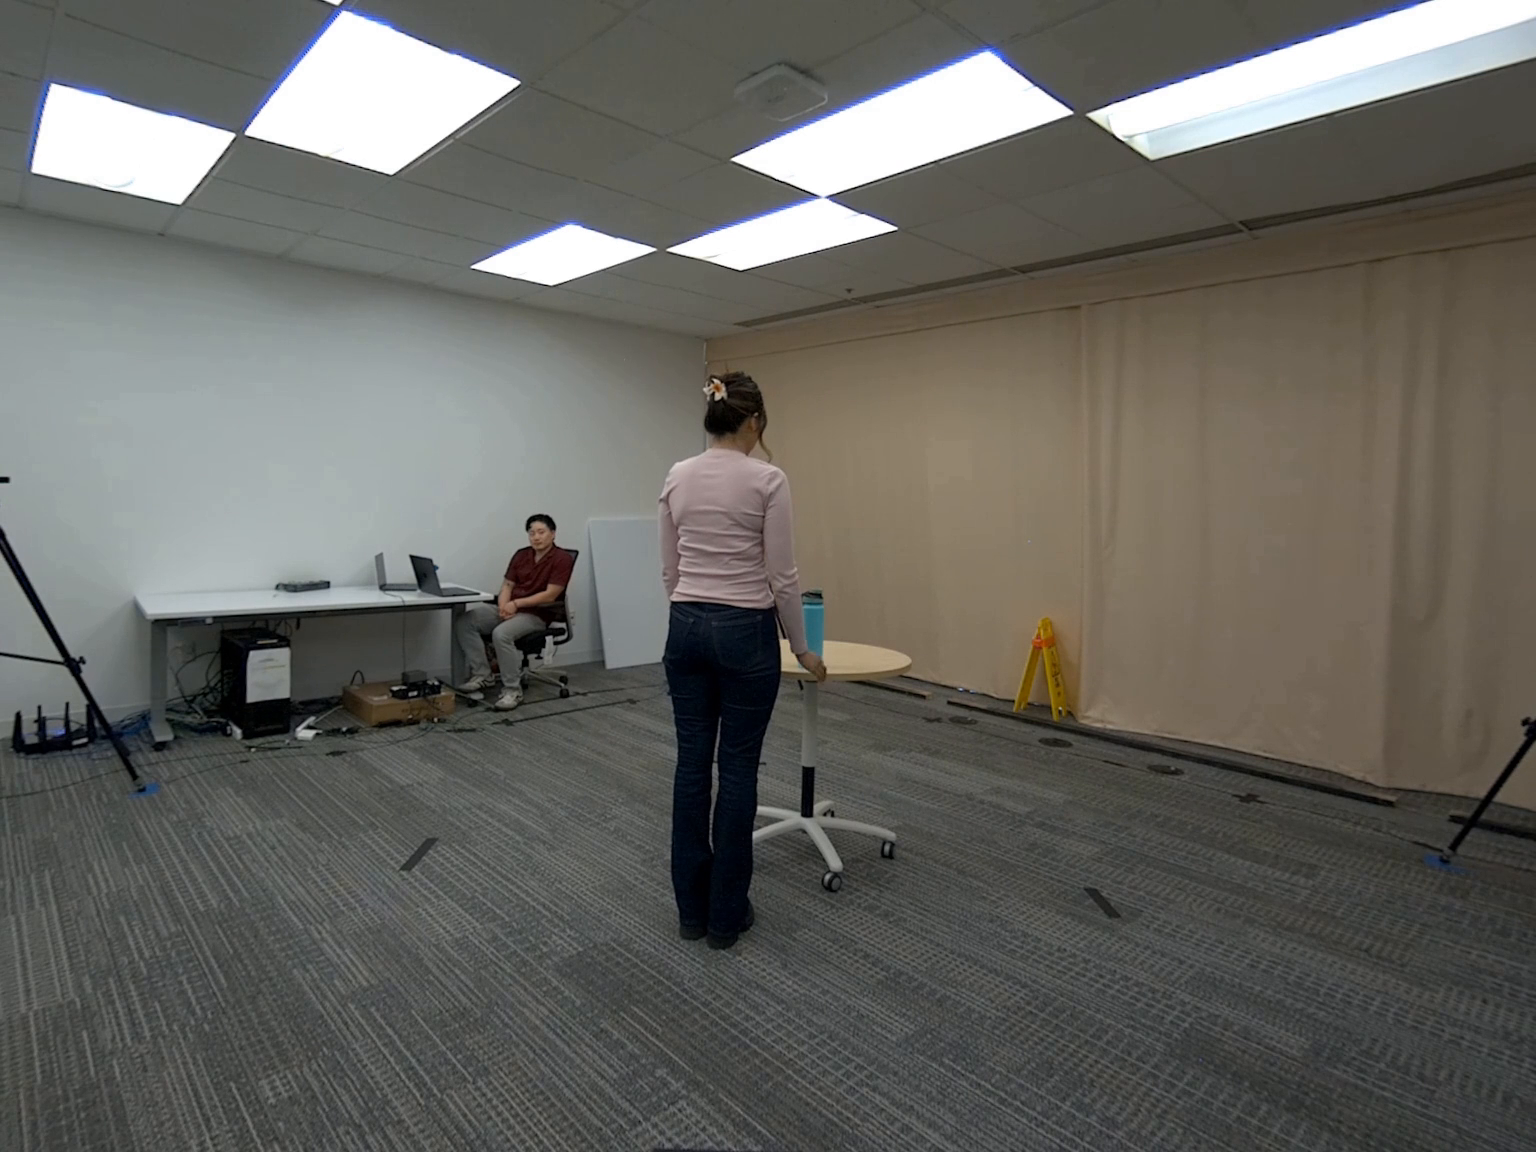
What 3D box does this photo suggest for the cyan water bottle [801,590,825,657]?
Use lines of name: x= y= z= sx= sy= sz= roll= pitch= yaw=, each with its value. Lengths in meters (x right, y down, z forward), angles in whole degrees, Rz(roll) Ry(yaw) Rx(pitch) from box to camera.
cyan water bottle: x=0.155 y=0.192 z=3.036 sx=0.092 sy=0.283 sz=0.092 roll=3 pitch=2 yaw=-2
